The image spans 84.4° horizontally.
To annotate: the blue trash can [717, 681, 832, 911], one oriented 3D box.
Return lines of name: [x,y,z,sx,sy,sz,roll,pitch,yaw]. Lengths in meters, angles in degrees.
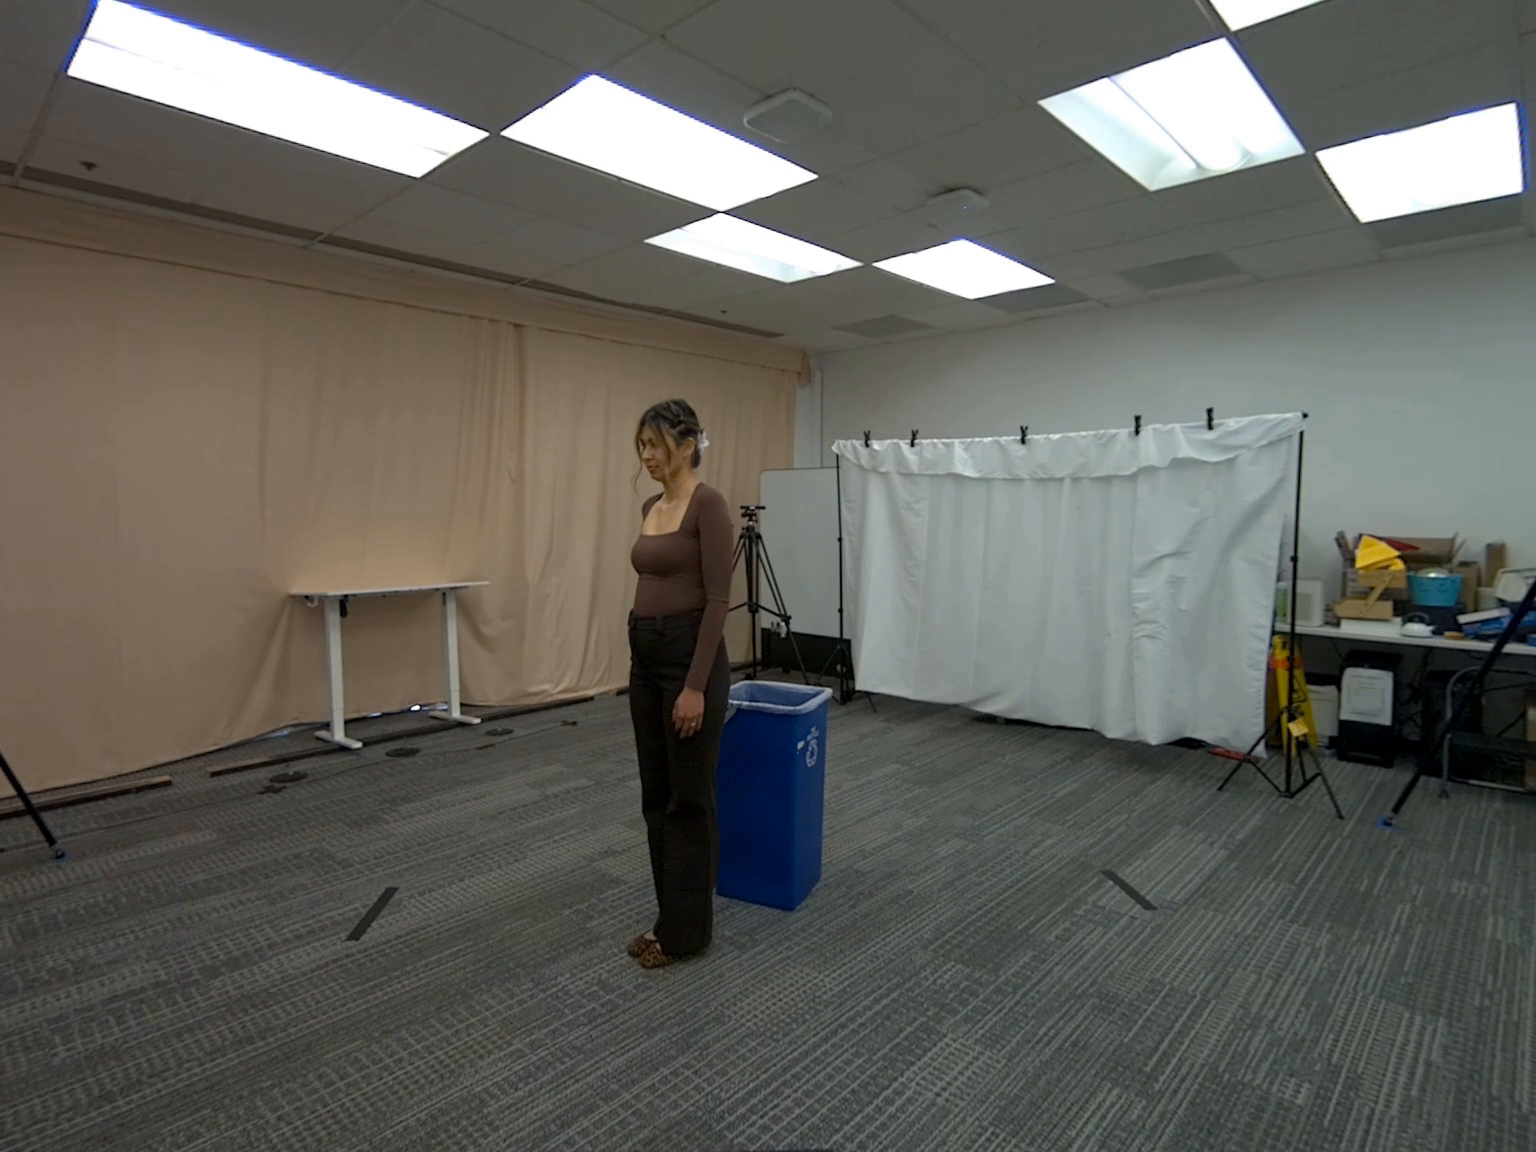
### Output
blue trash can: [0.005,0.778,3.062,0.384,0.712,0.369,3,4,24]
